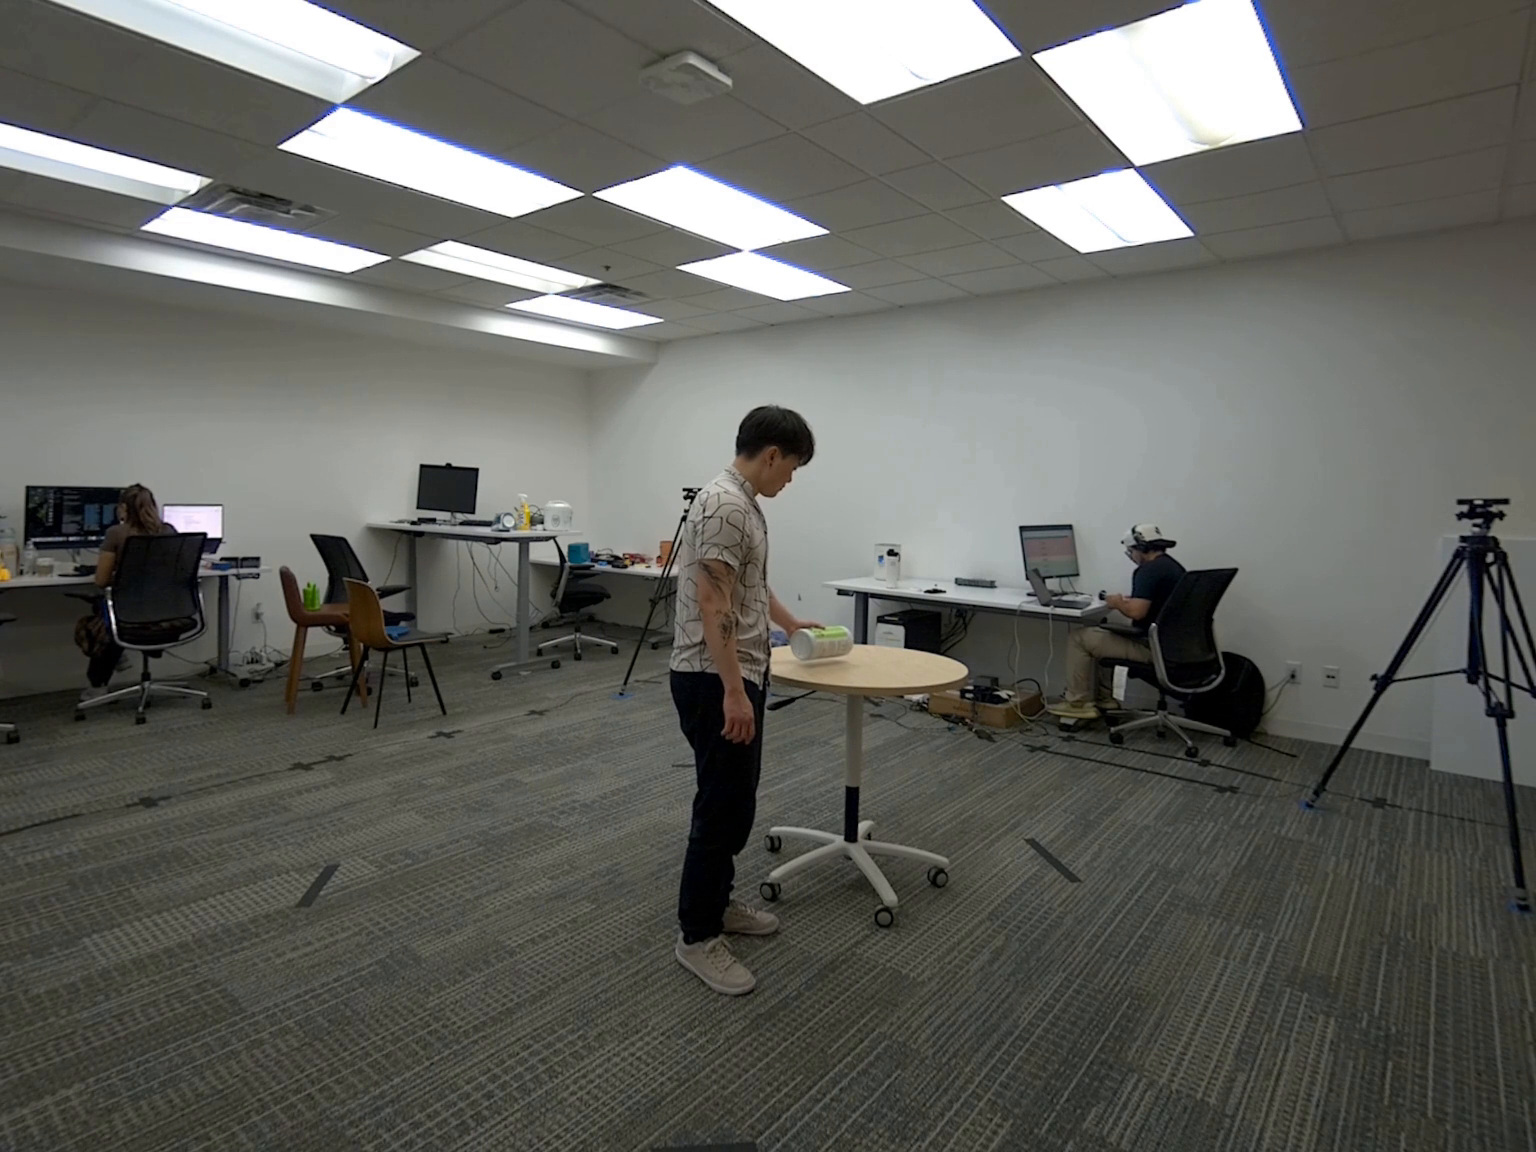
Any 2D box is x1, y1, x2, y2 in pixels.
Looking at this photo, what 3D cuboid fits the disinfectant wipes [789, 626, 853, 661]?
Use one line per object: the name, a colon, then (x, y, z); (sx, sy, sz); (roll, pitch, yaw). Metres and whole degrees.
disinfectant wipes: (0.187, 0.232, 2.992); (0.211, 0.117, 0.122); (-4, 6, -42)
